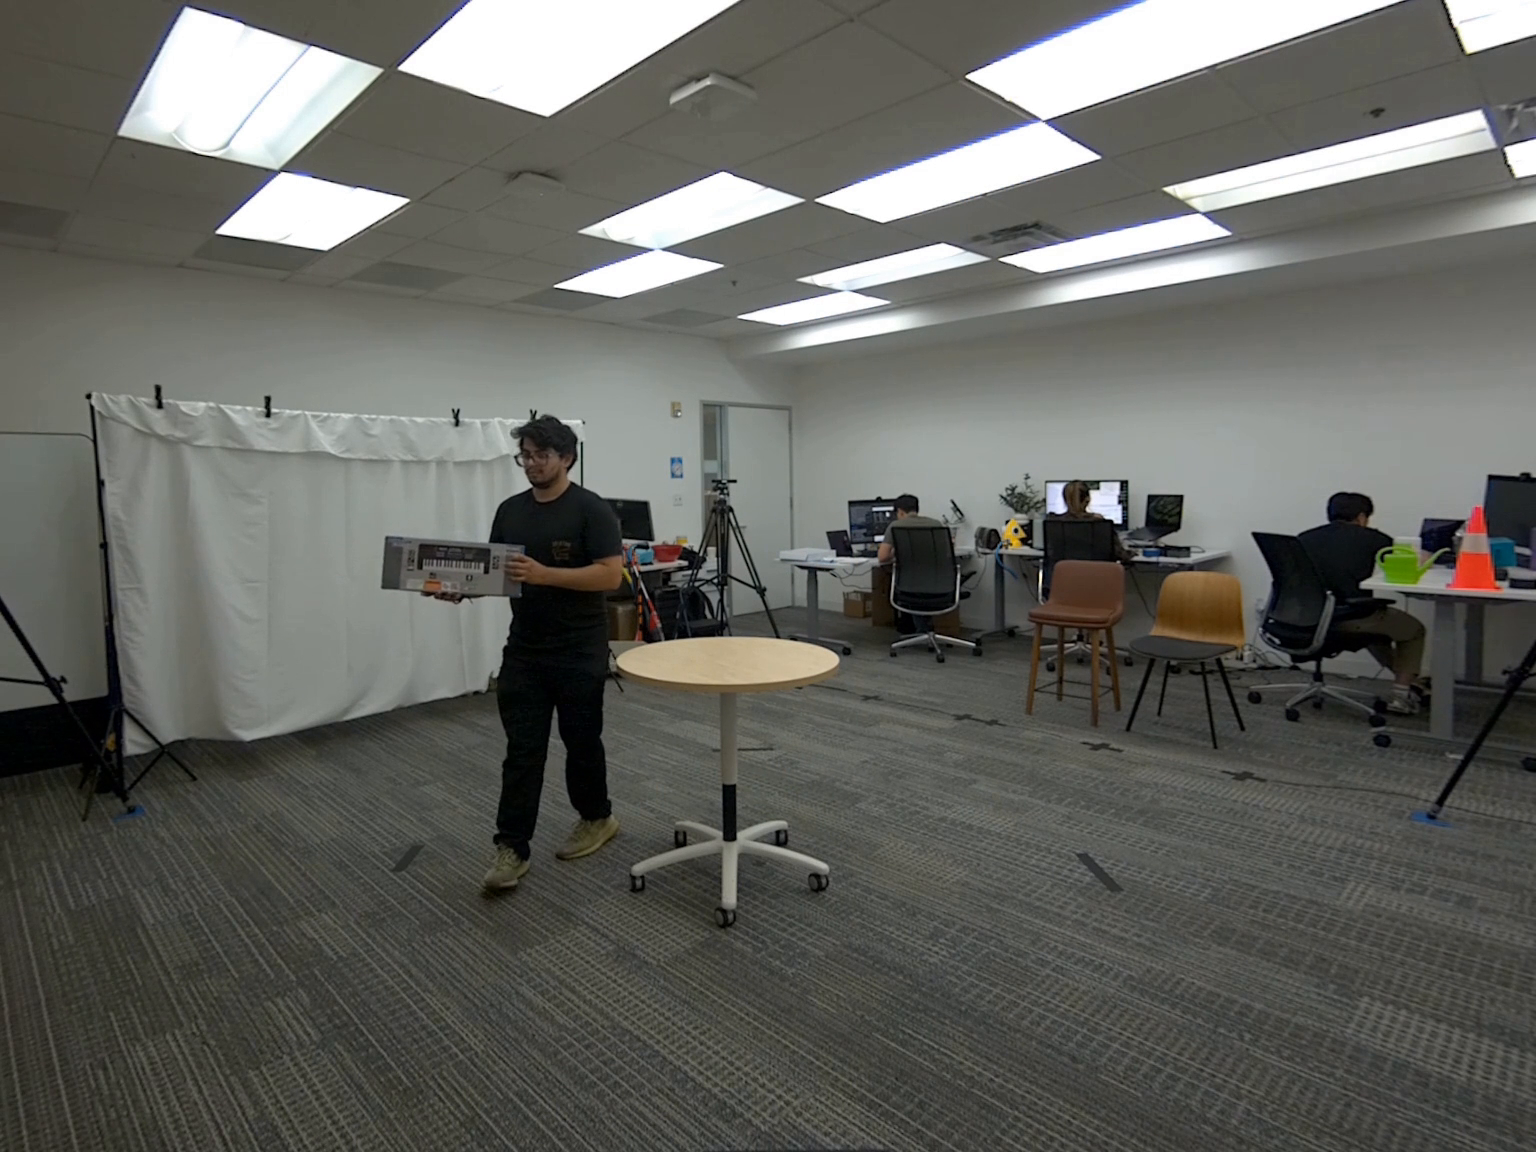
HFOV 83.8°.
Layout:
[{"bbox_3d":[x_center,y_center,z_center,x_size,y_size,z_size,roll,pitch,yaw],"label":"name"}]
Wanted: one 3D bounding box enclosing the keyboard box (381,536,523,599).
[{"bbox_3d":[-1.049,-0.028,2.813,0.431,0.176,0.060,4,1,-12],"label":"keyboard box"}]
